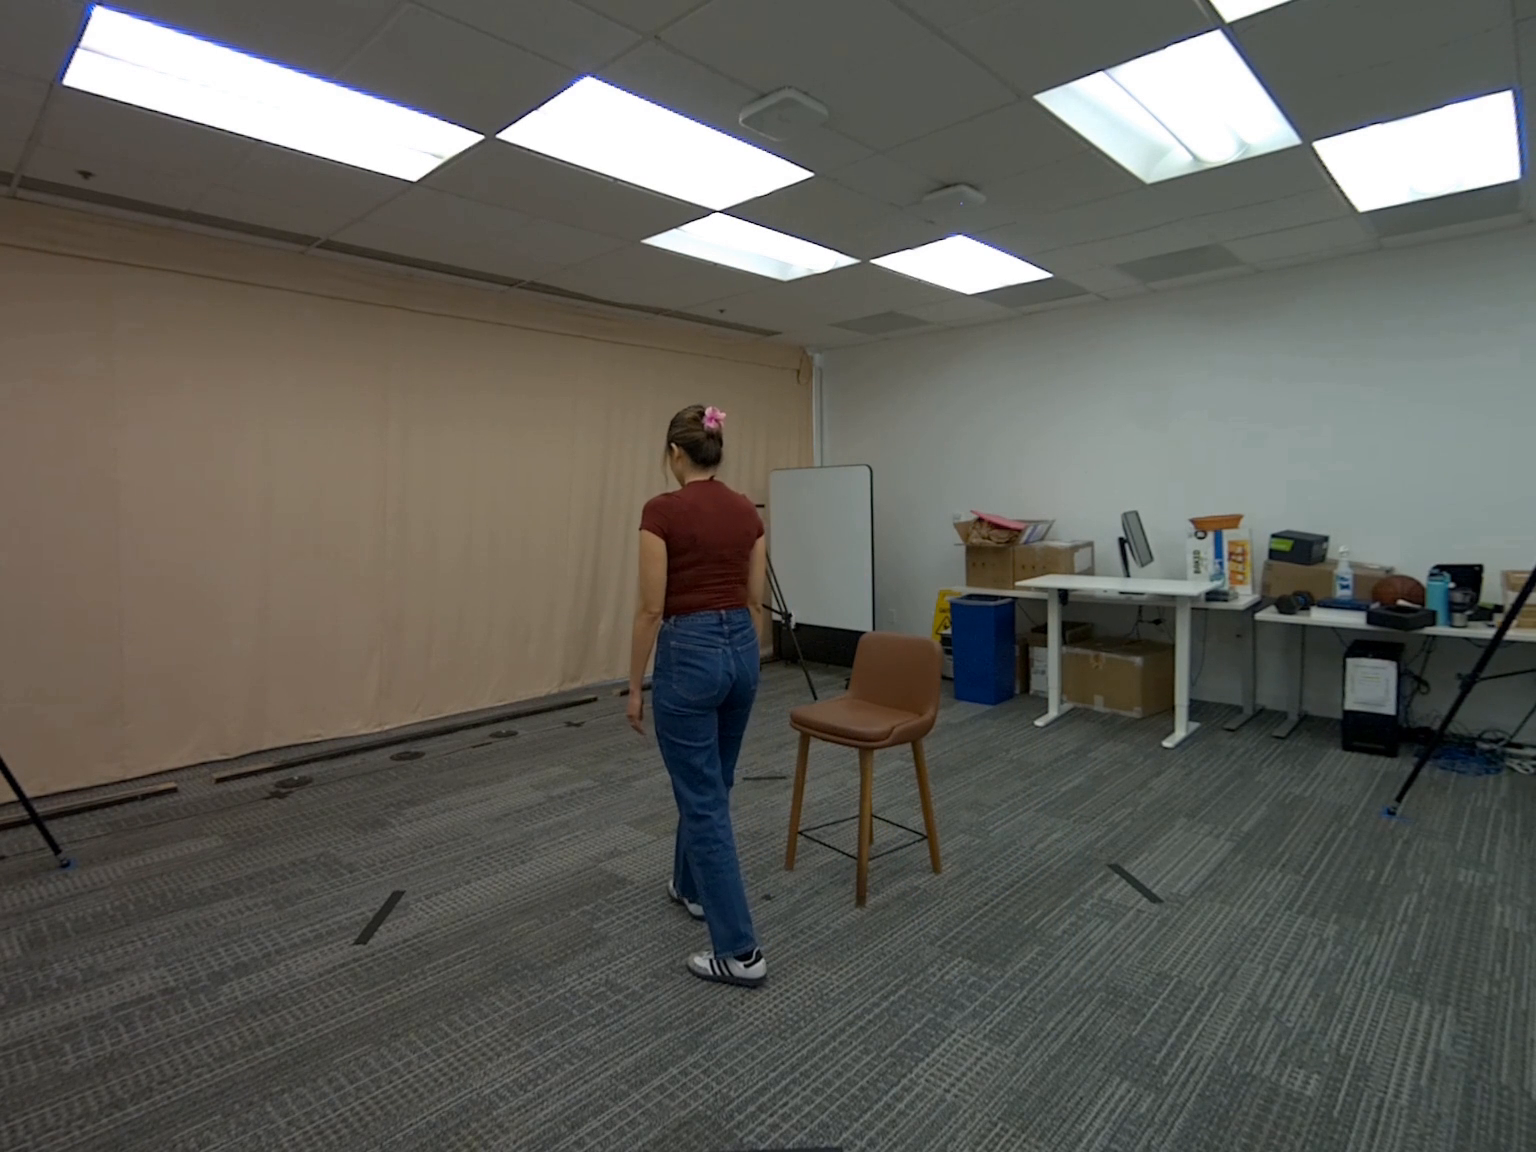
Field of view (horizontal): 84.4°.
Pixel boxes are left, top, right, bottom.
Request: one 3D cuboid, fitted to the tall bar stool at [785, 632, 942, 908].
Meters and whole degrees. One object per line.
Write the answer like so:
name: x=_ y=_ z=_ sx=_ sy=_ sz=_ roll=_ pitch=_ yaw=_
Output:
tall bar stool: x=0.366 y=0.682 z=3.163 sx=0.453 sy=0.888 sz=0.471 roll=-1 pitch=3 yaw=-38
